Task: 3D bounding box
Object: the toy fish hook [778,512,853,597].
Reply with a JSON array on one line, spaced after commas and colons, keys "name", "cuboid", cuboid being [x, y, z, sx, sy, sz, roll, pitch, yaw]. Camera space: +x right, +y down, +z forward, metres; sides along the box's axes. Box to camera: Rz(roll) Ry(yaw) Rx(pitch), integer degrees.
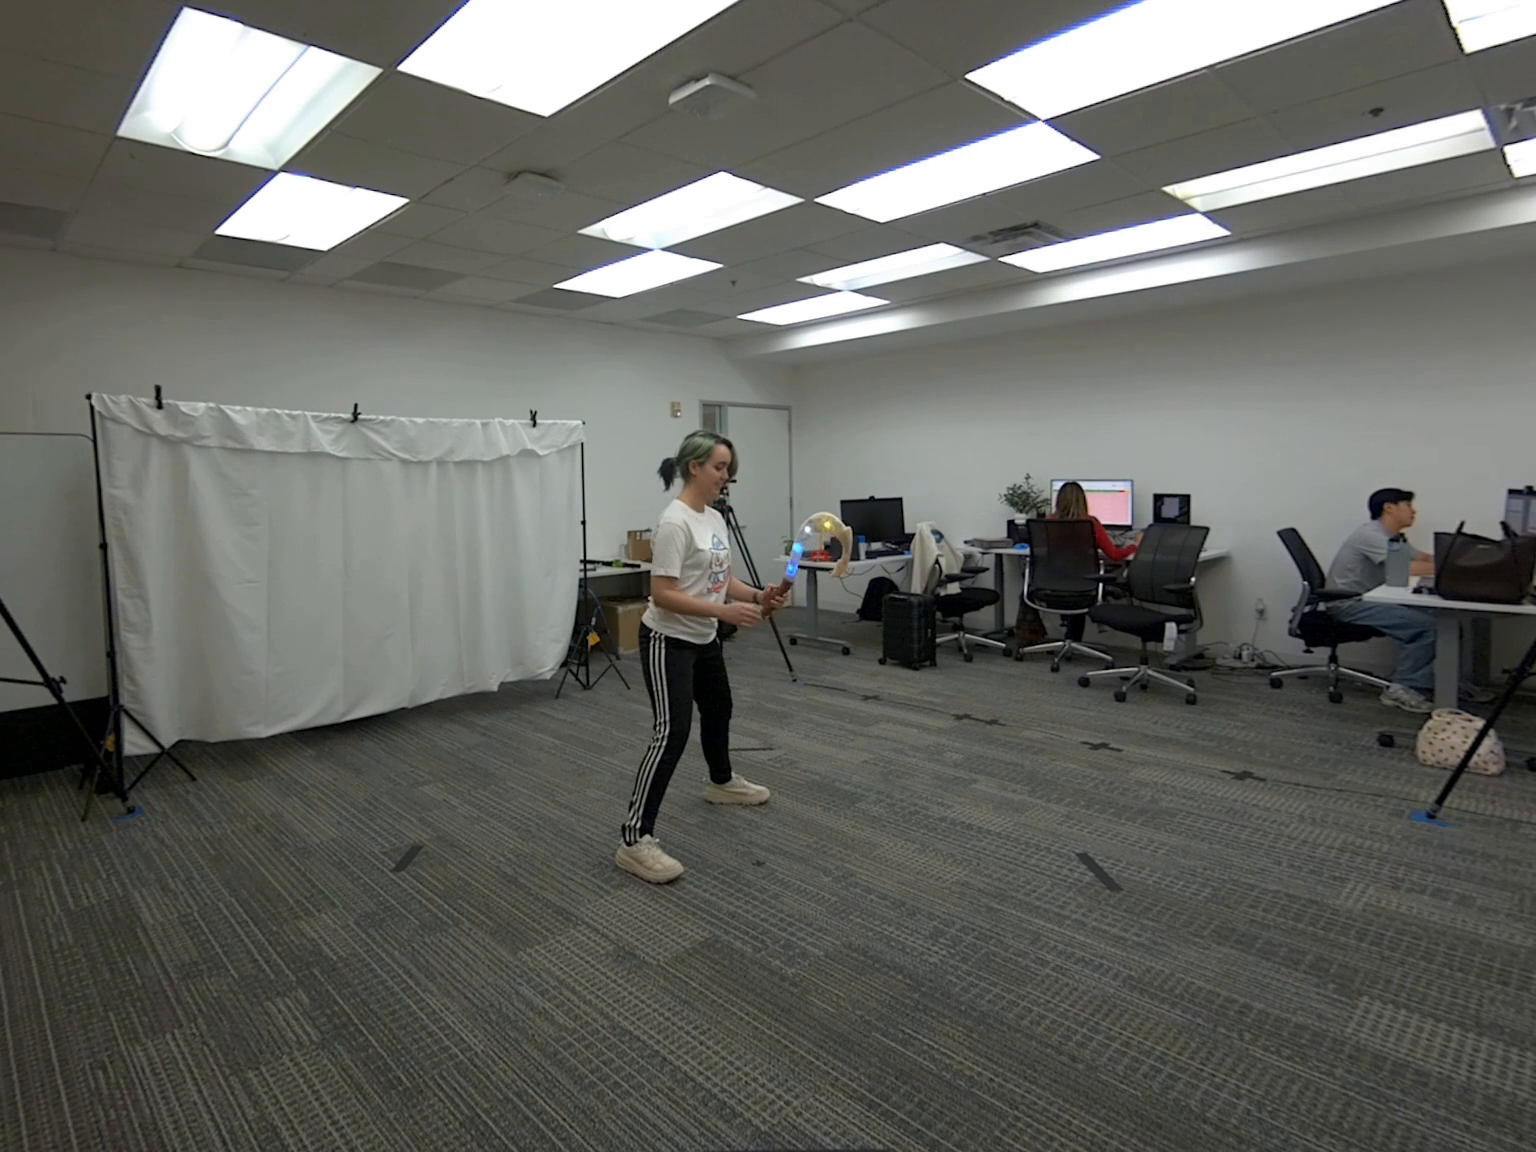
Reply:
[{"name": "toy fish hook", "cuboid": [0.133, 0.006, 3.160, 0.231, 0.503, 0.047, 43, 26, 22]}]
